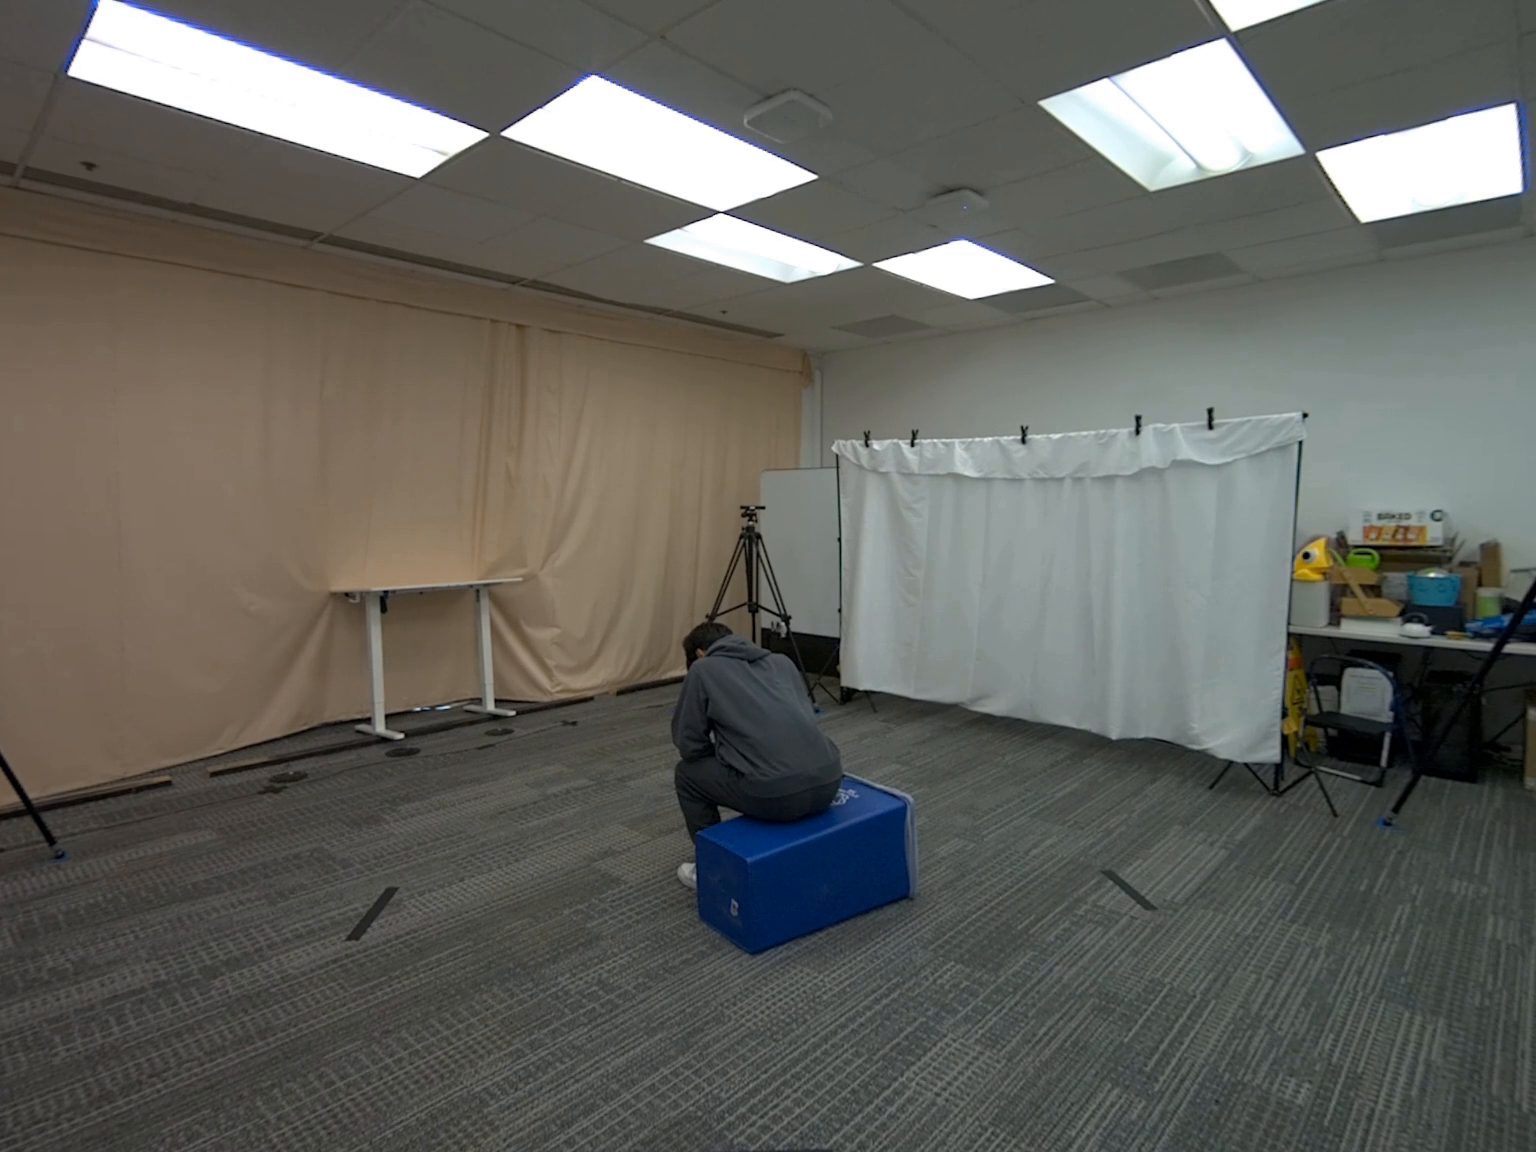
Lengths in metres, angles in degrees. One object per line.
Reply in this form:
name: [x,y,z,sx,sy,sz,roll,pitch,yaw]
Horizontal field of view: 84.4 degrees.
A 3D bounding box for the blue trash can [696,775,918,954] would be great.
blue trash can: [0.143,0.983,2.901,0.693,0.376,0.386,-8,8,-37]
